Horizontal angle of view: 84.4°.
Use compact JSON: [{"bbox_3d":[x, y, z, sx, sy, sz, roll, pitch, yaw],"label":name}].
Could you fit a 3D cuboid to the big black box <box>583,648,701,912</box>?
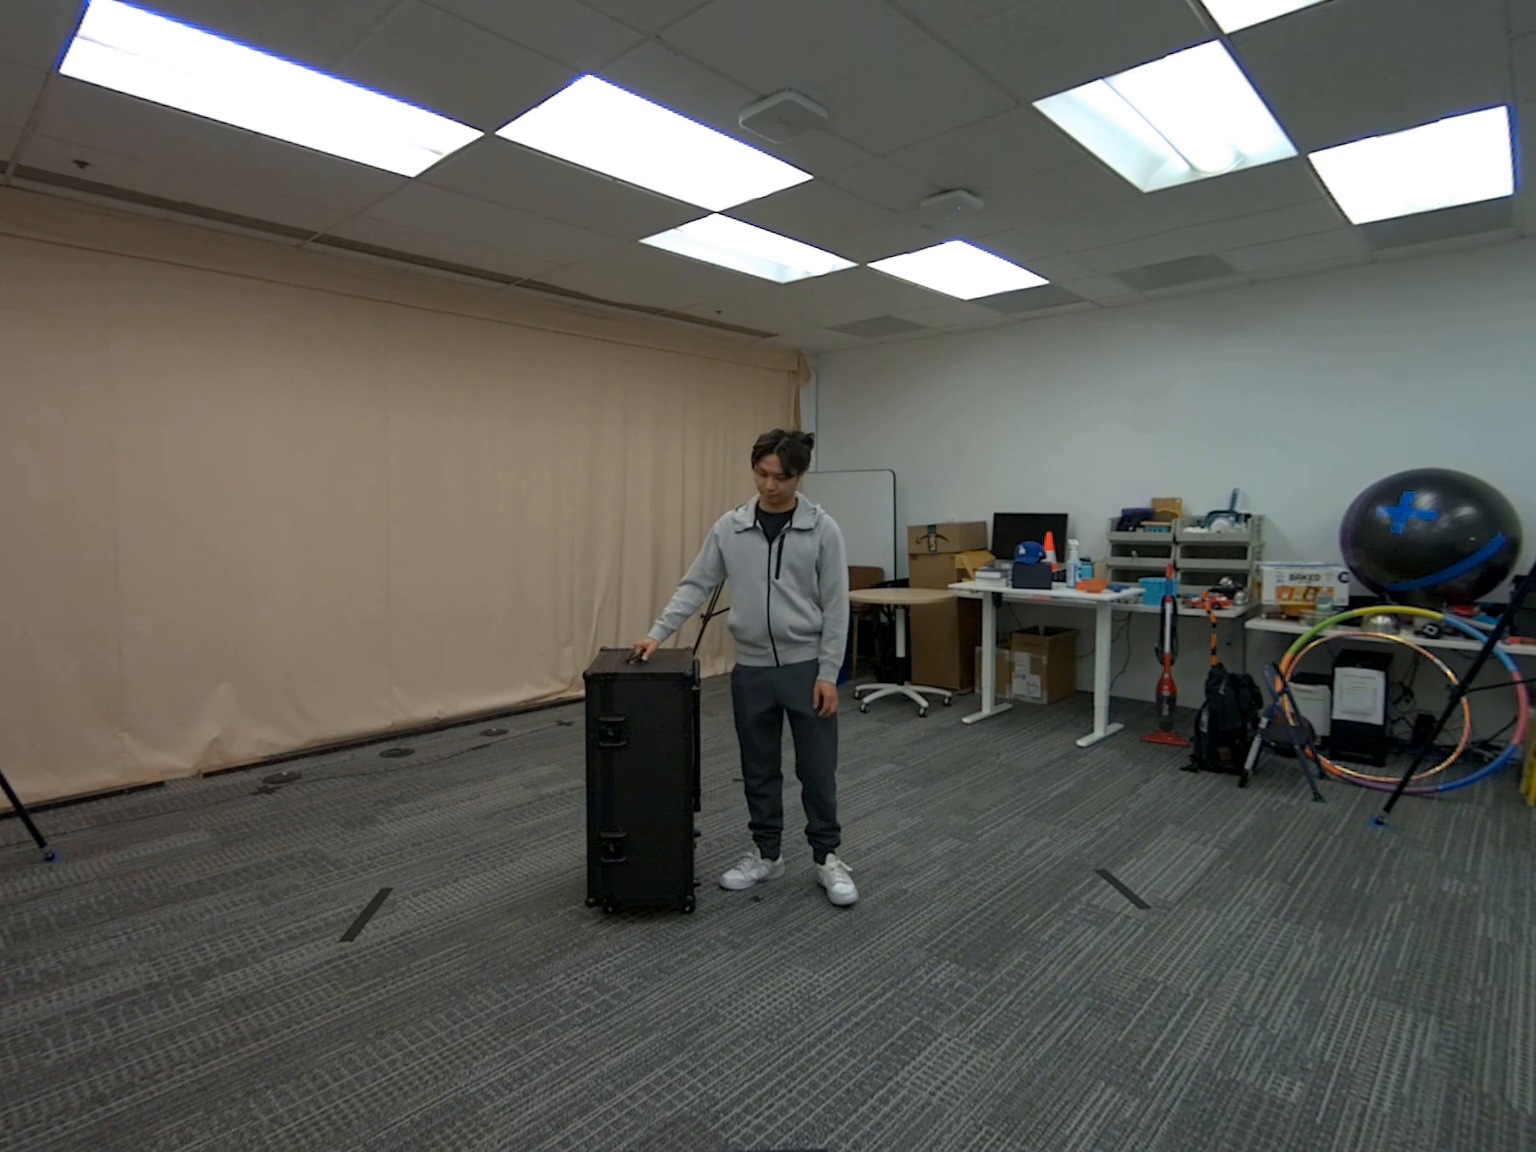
[{"bbox_3d":[-0.428,0.724,3.007,0.395,0.860,0.523,0,2,-3],"label":"big black box"}]
